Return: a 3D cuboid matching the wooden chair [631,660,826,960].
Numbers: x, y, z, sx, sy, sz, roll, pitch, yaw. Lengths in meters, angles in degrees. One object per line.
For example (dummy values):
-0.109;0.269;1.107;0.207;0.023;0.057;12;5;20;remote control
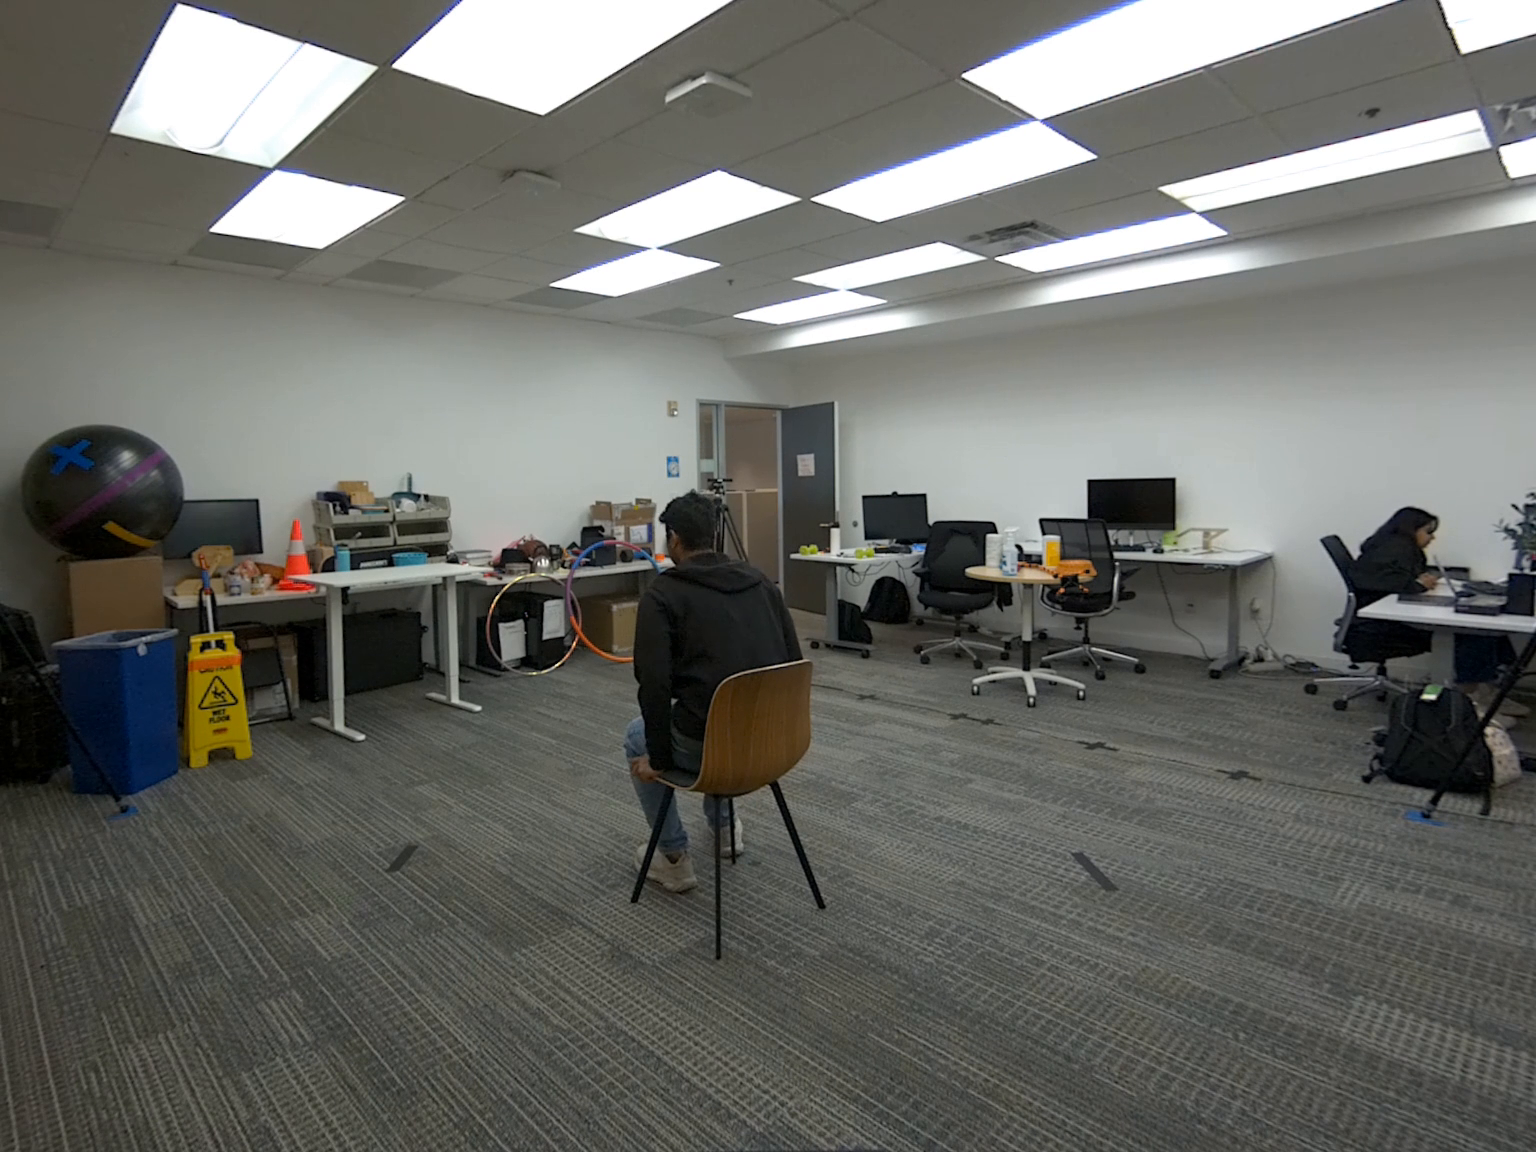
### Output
-0.150;0.662;2.777;0.466;0.872;0.540;-5;10;-41;wooden chair
